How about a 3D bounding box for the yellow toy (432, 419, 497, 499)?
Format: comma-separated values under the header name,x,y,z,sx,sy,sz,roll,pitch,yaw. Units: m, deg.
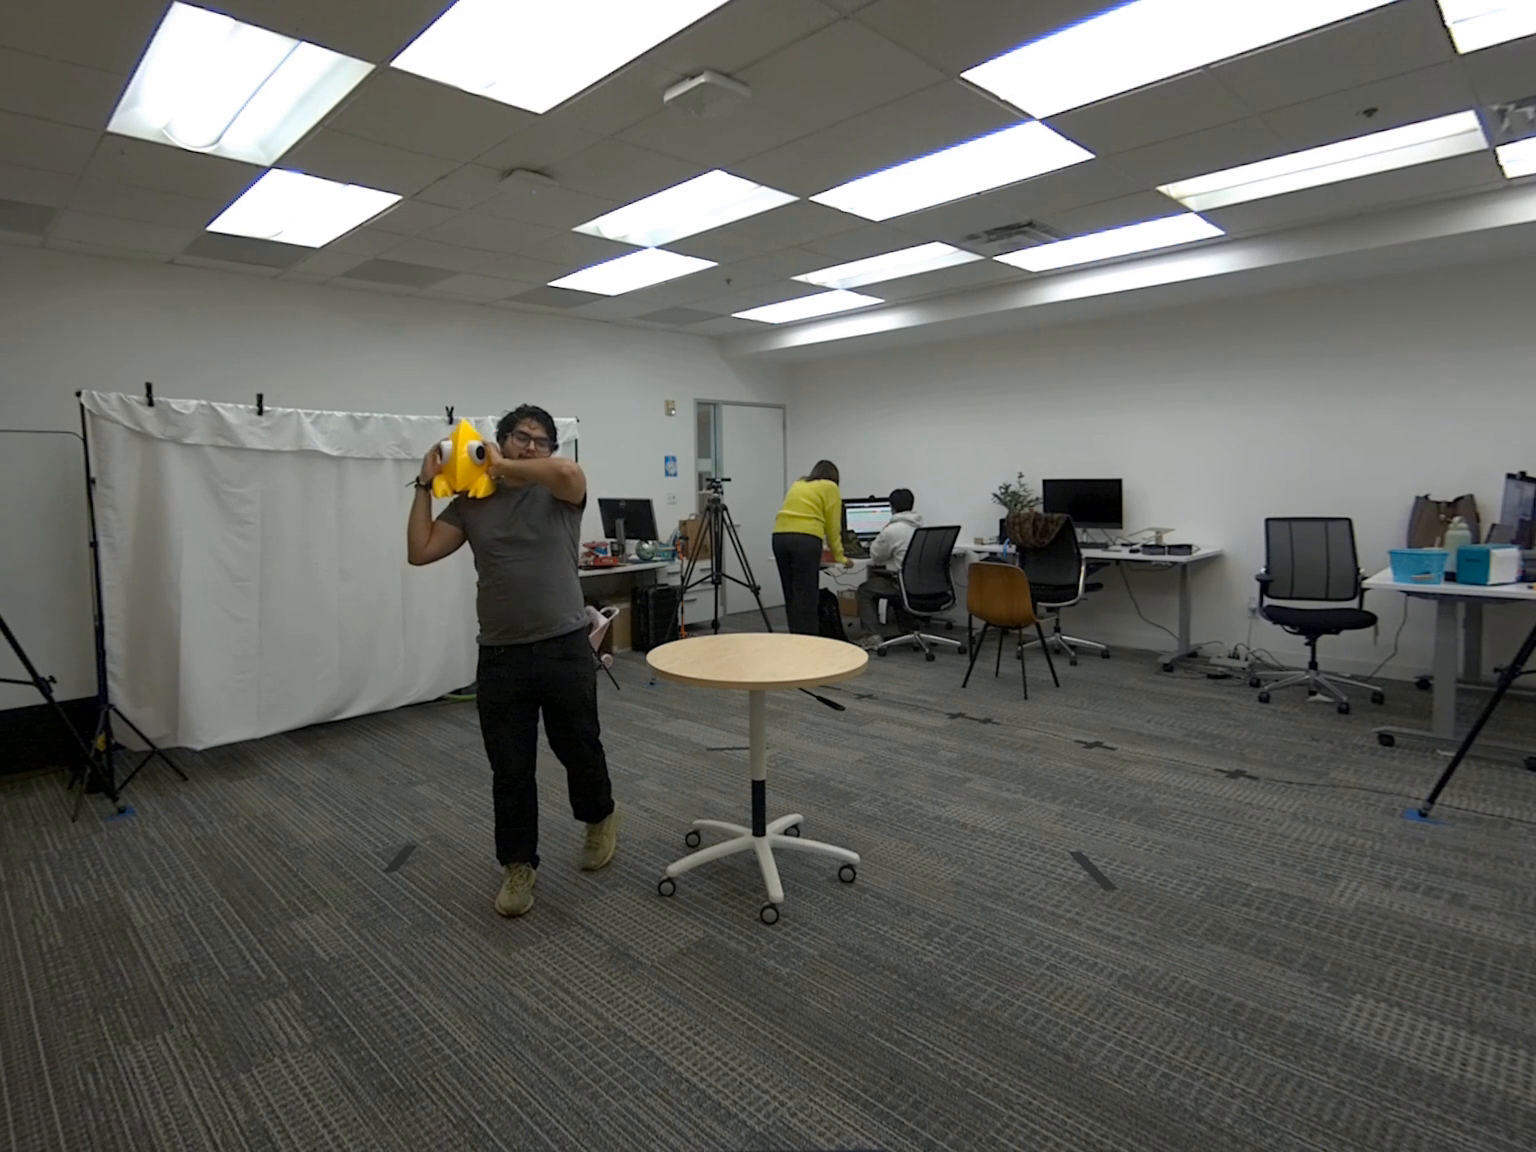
name,x,y,z,sx,sy,sz,roll,pitch,yaw
yellow toy,-0.988,-0.393,2.797,0.204,0.227,0.197,-1,21,-6
